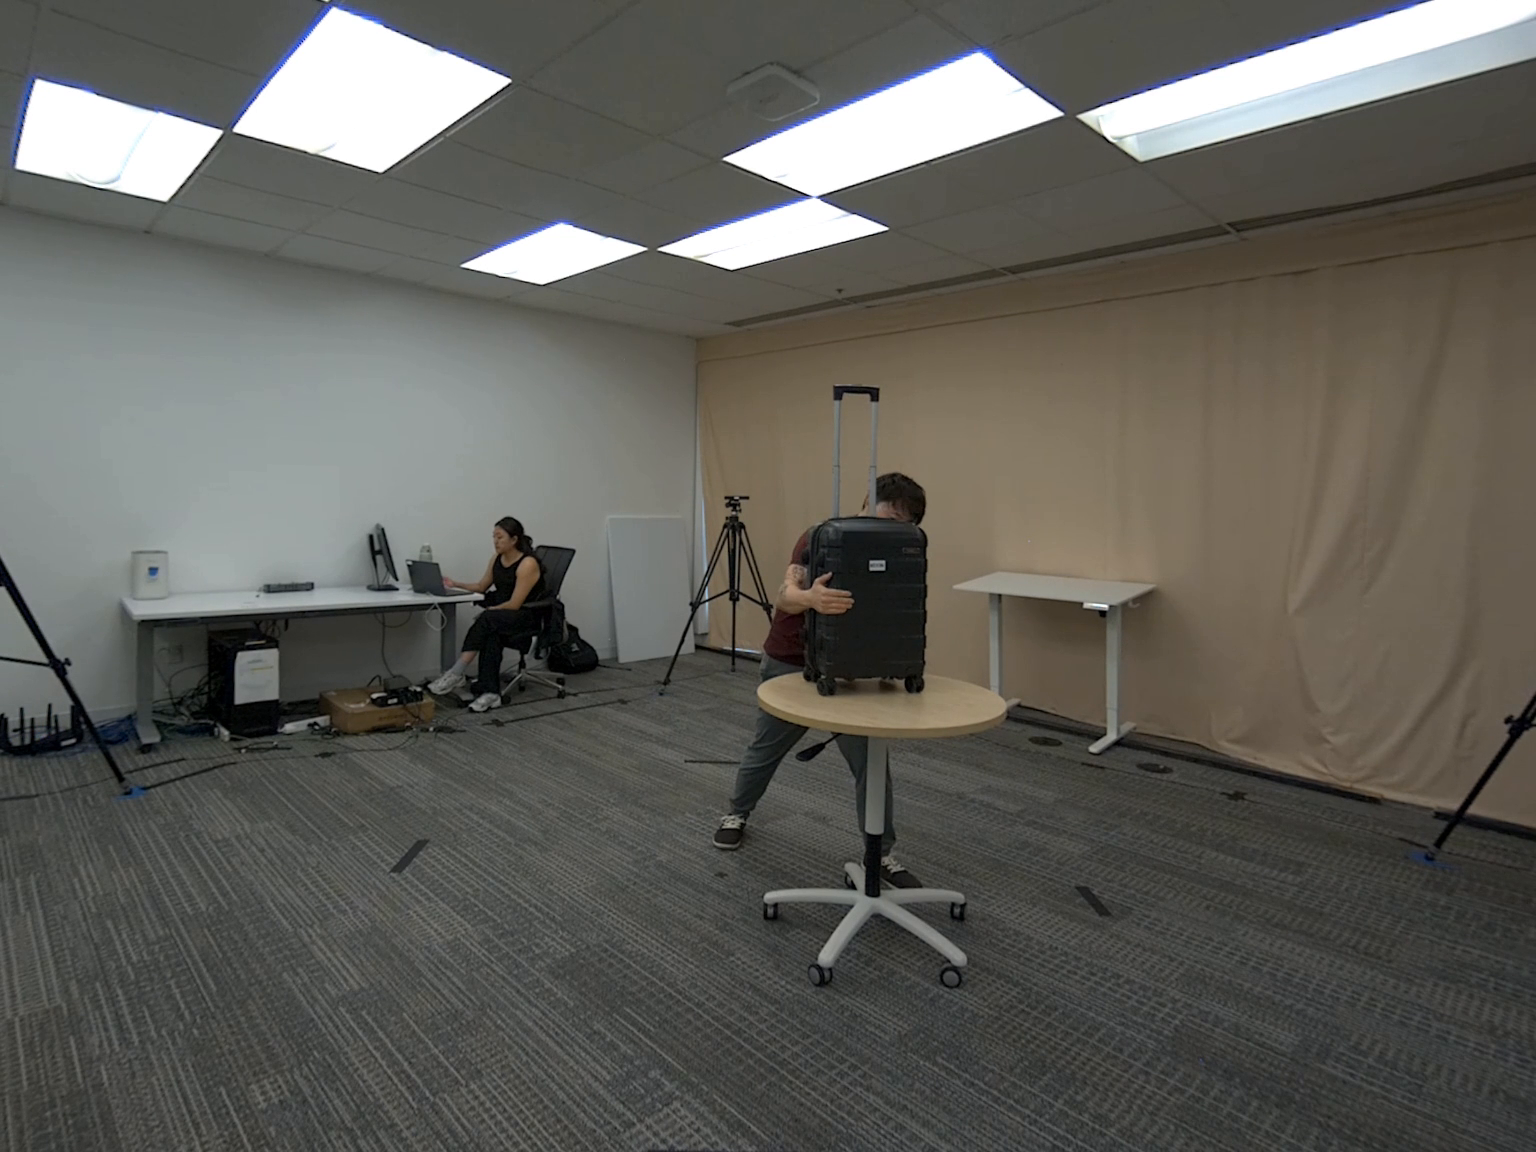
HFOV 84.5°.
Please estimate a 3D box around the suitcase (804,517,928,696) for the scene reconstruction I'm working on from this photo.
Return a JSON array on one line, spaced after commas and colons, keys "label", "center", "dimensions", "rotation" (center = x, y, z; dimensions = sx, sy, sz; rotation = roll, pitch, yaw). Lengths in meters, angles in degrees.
[{"label": "suitcase", "center": [0.309, -0.114, 2.692], "dimensions": [0.381, 0.975, 0.260], "rotation": [-1, 5, -11]}]
